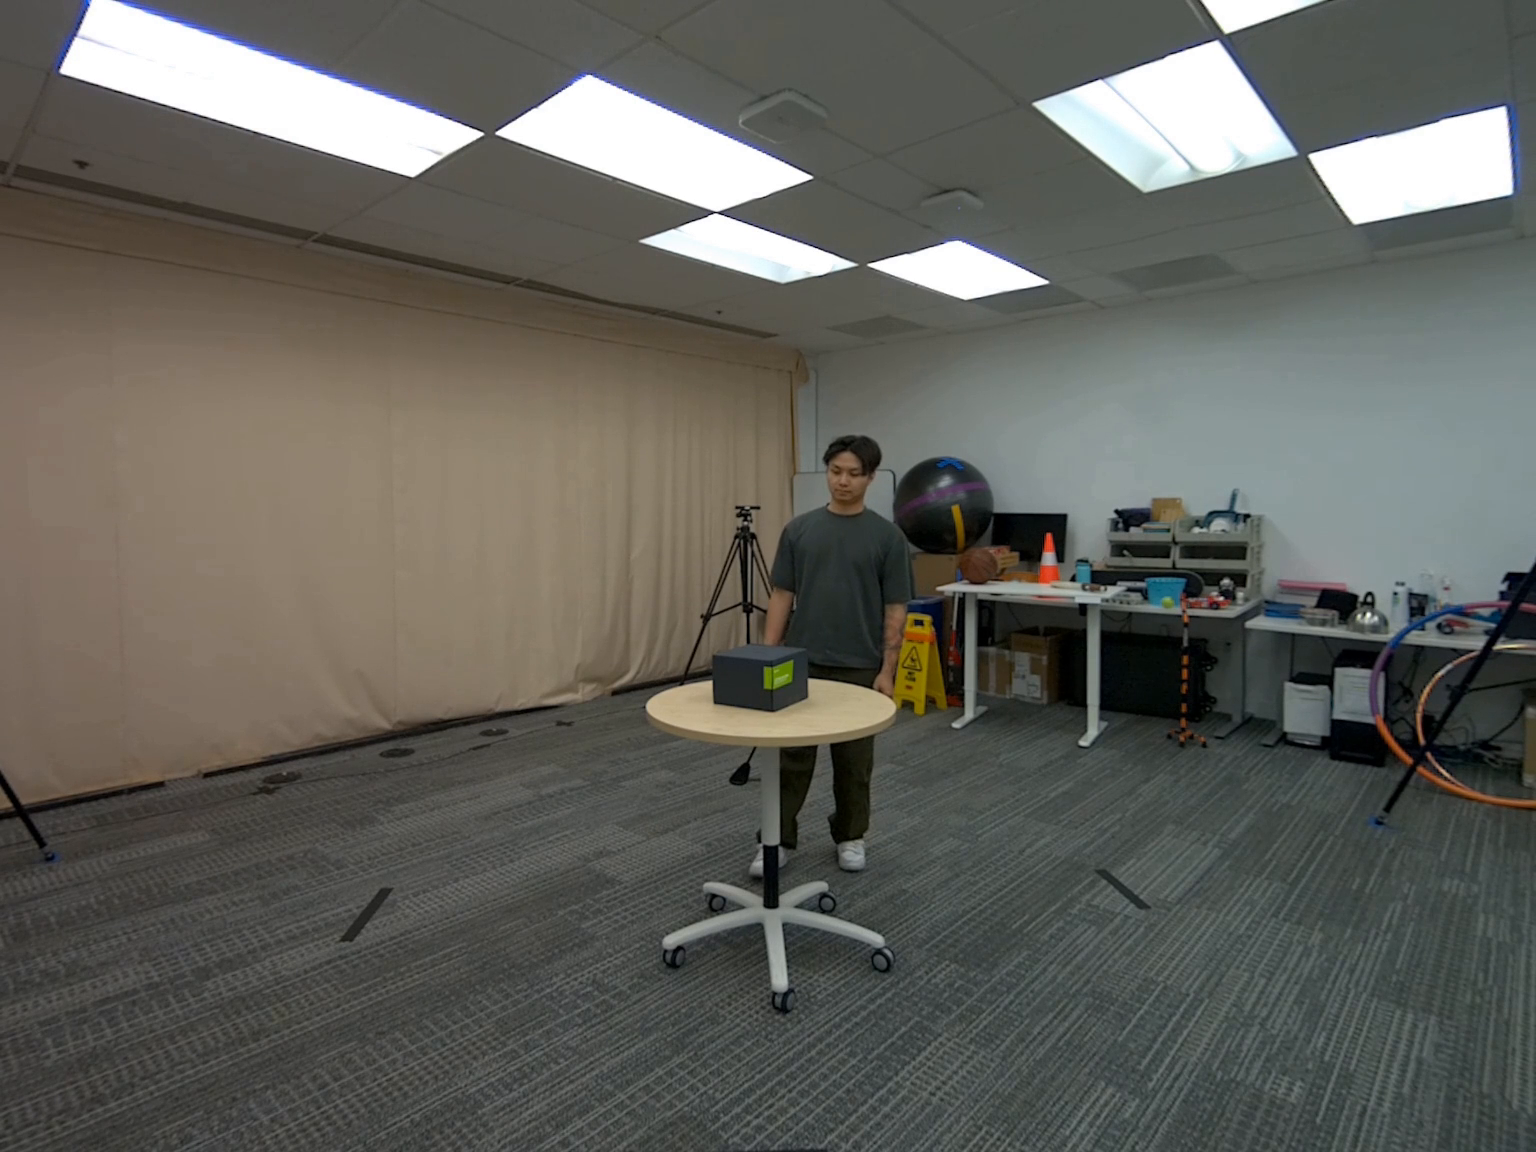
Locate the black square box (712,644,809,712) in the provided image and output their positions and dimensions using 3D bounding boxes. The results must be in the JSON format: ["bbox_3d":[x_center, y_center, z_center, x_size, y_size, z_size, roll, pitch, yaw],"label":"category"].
[{"bbox_3d":[-0.018,0.312,2.623,0.223,0.155,0.222,2,5,32],"label":"black square box"}]
